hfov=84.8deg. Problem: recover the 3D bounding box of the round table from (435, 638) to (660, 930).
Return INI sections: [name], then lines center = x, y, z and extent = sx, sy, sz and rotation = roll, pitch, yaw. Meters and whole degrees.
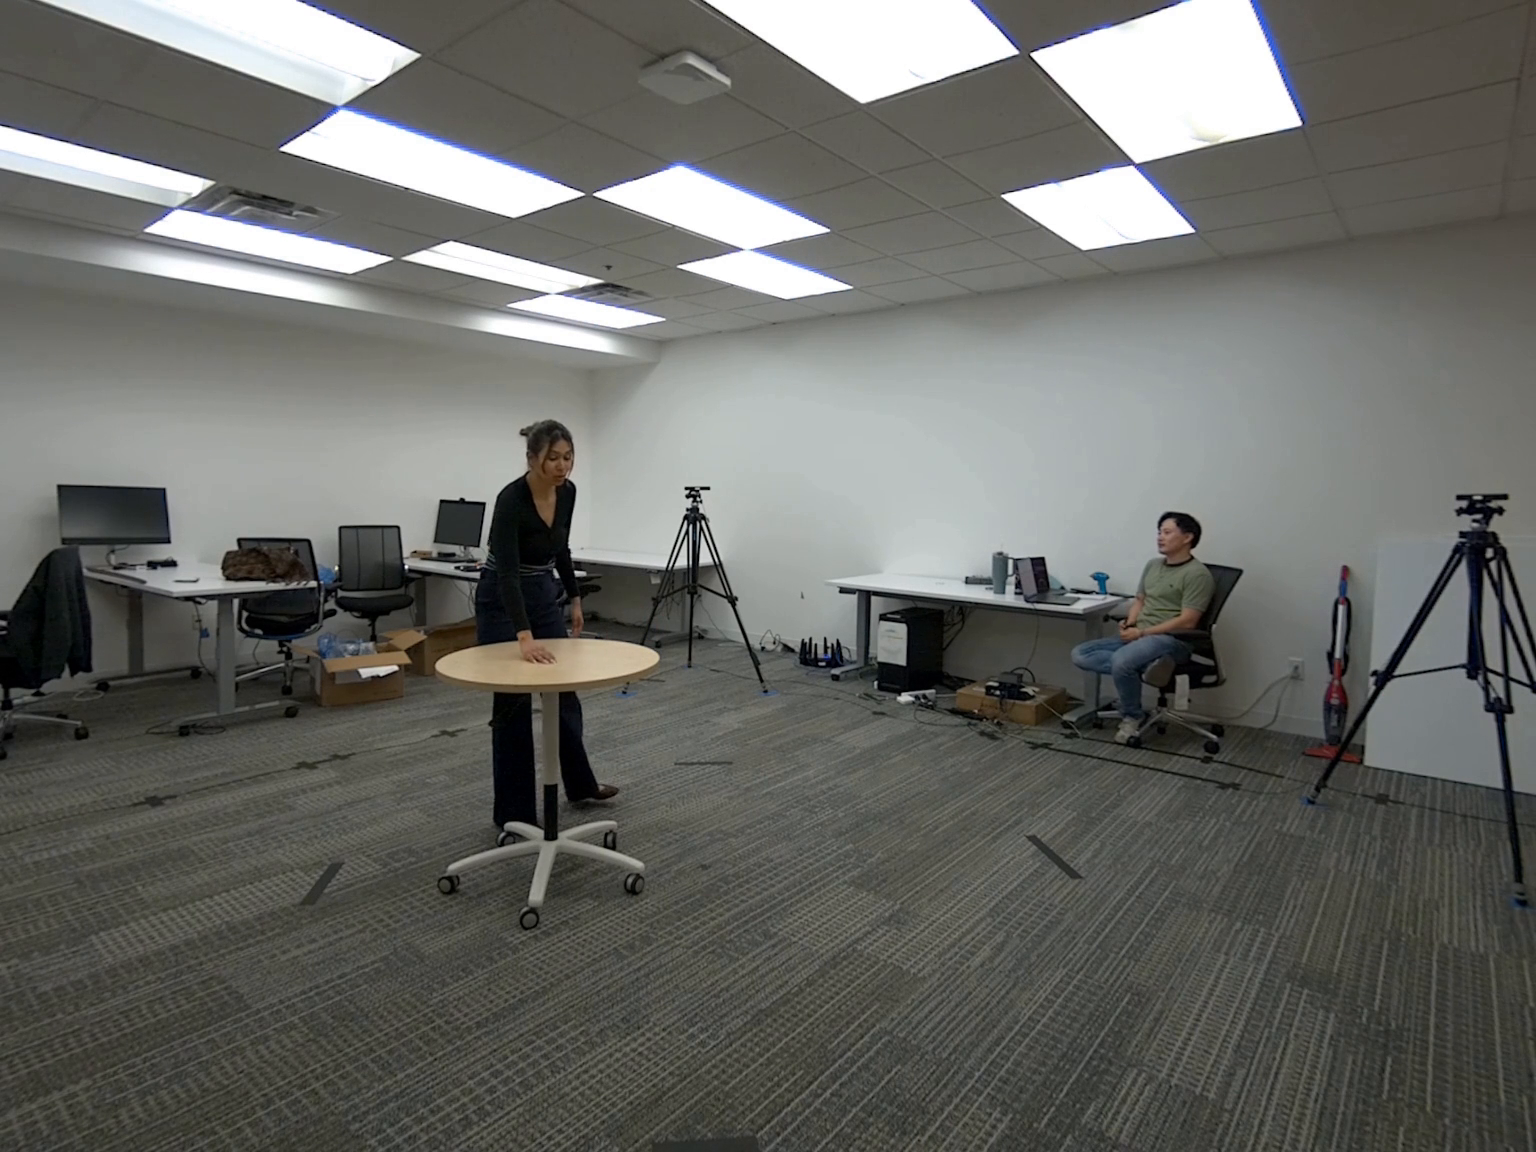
[round table]
center = -0.775, 0.680, 2.998
extent = 0.763, 0.791, 0.768
rotation = 0, 4, -2
